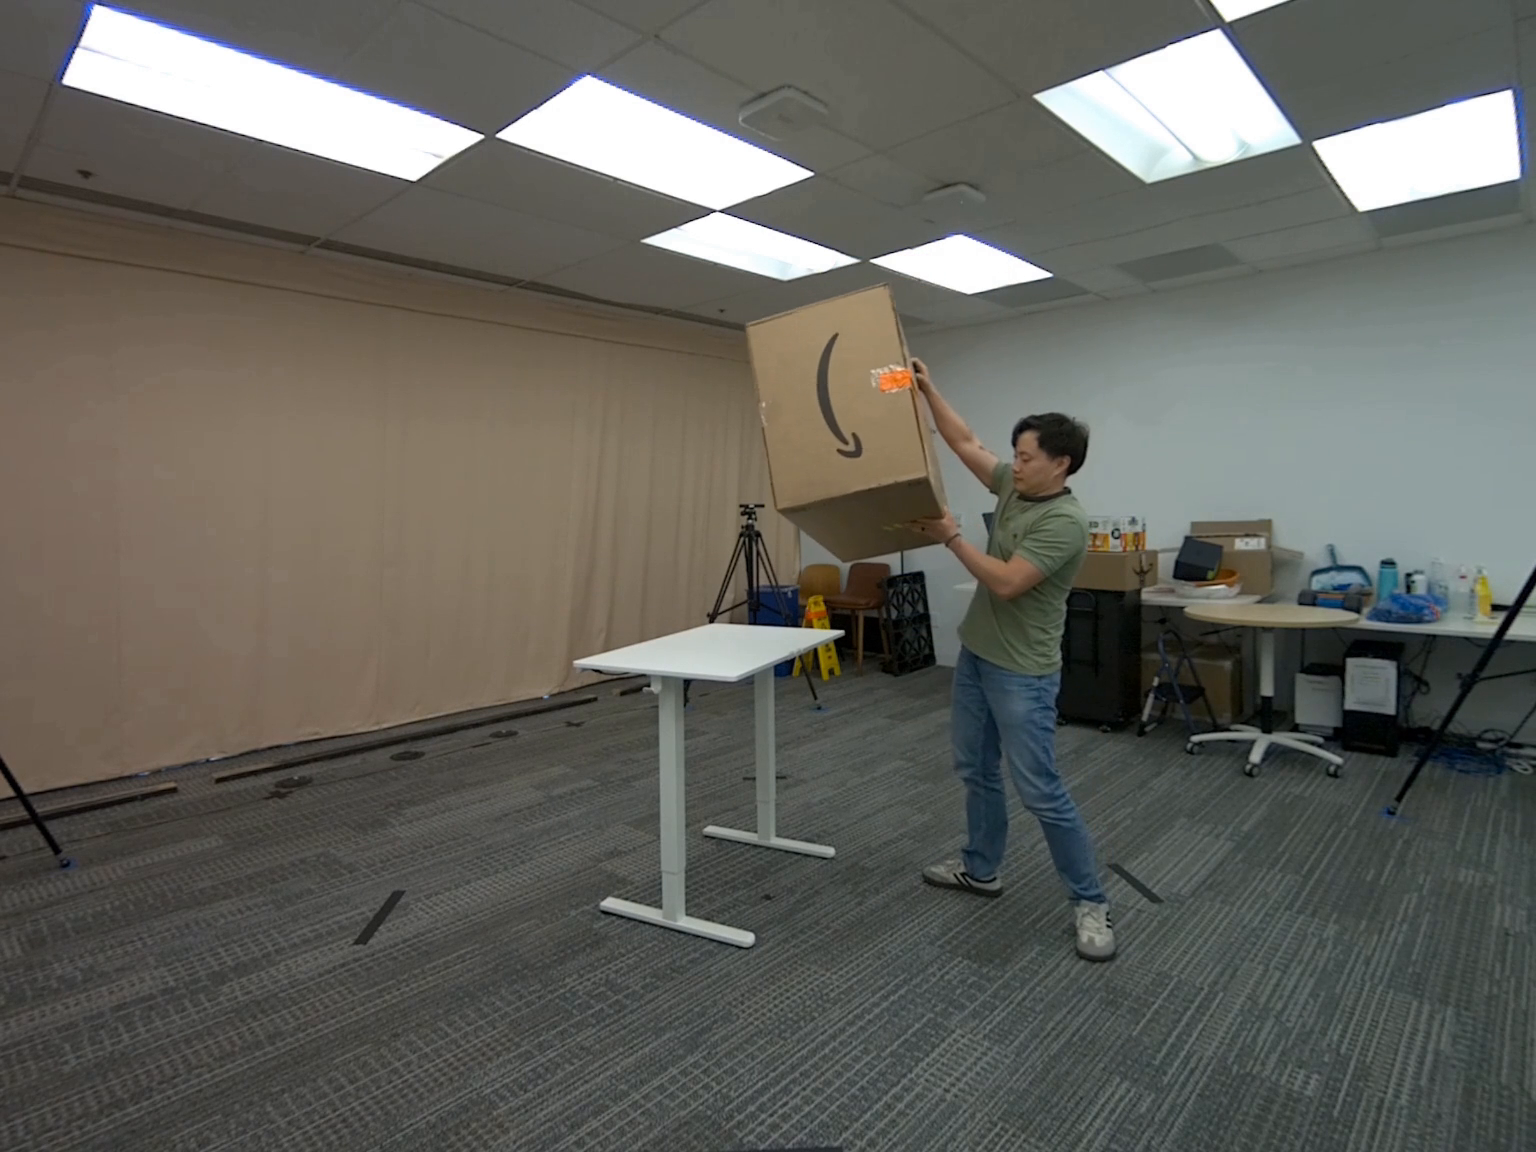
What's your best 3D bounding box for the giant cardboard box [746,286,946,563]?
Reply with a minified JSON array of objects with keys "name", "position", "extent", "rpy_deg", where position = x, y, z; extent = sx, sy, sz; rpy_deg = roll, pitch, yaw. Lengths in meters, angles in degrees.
[{"name":"giant cardboard box","position":[0.326,-0.429,2.805],"extent":[0.433,0.583,1.001],"rpy_deg":[-12,-12,16]}]
